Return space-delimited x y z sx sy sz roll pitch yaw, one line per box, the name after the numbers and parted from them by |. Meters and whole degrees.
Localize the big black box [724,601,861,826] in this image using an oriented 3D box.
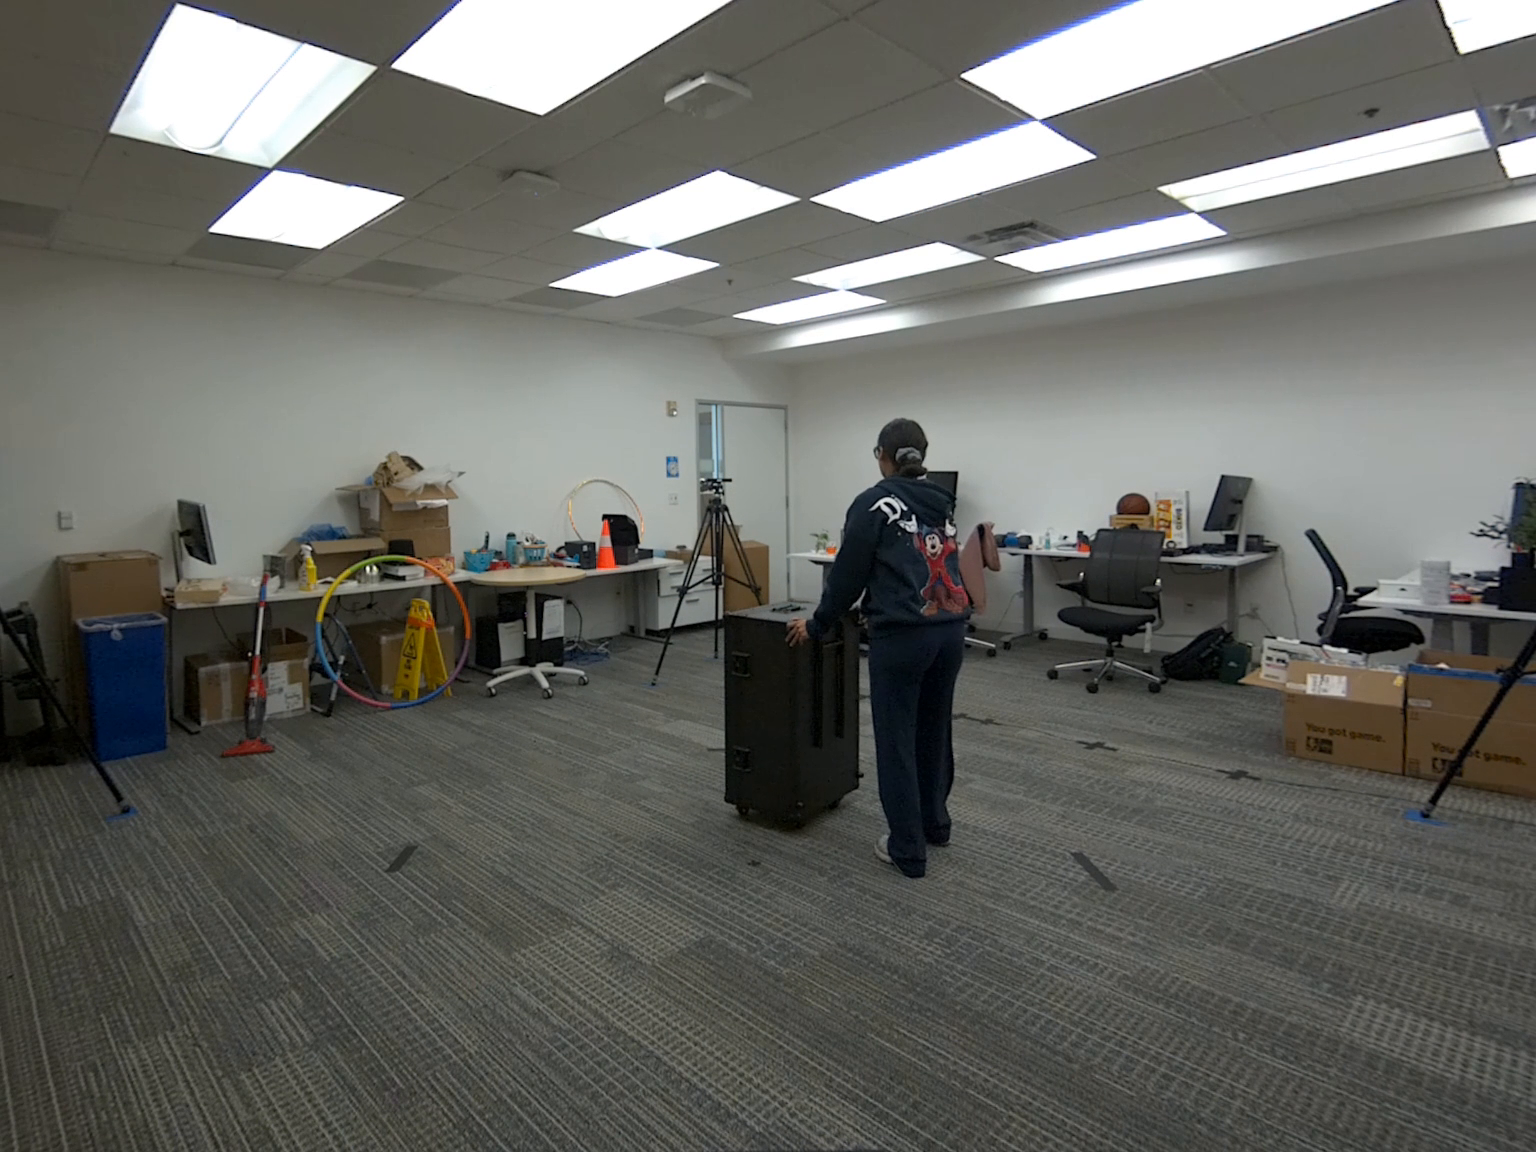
0.118 0.564 3.557 0.408 0.857 0.508 5 7 38 | big black box
